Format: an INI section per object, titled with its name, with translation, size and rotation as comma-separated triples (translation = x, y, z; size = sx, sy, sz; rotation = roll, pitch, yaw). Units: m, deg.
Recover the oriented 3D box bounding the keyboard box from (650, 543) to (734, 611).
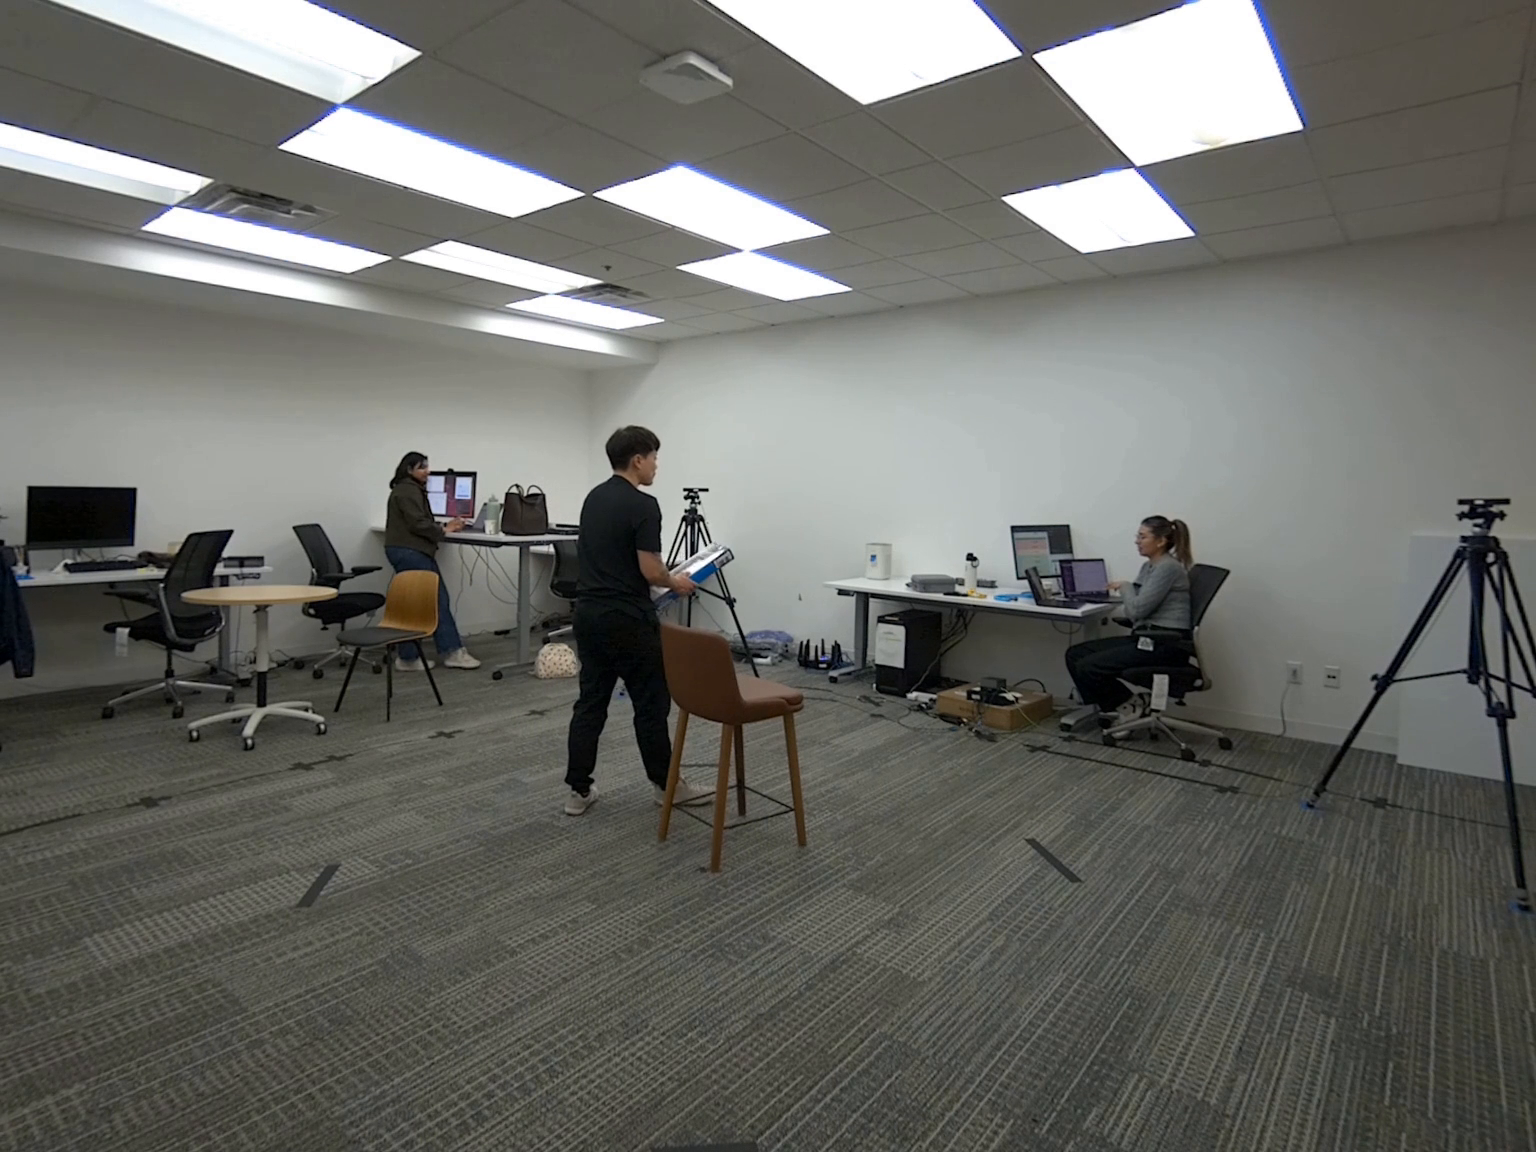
[keyboard box]
translation = -0.385, -0.006, 3.902
size = 0.434, 0.057, 0.182
rotation = -36, 24, -17
